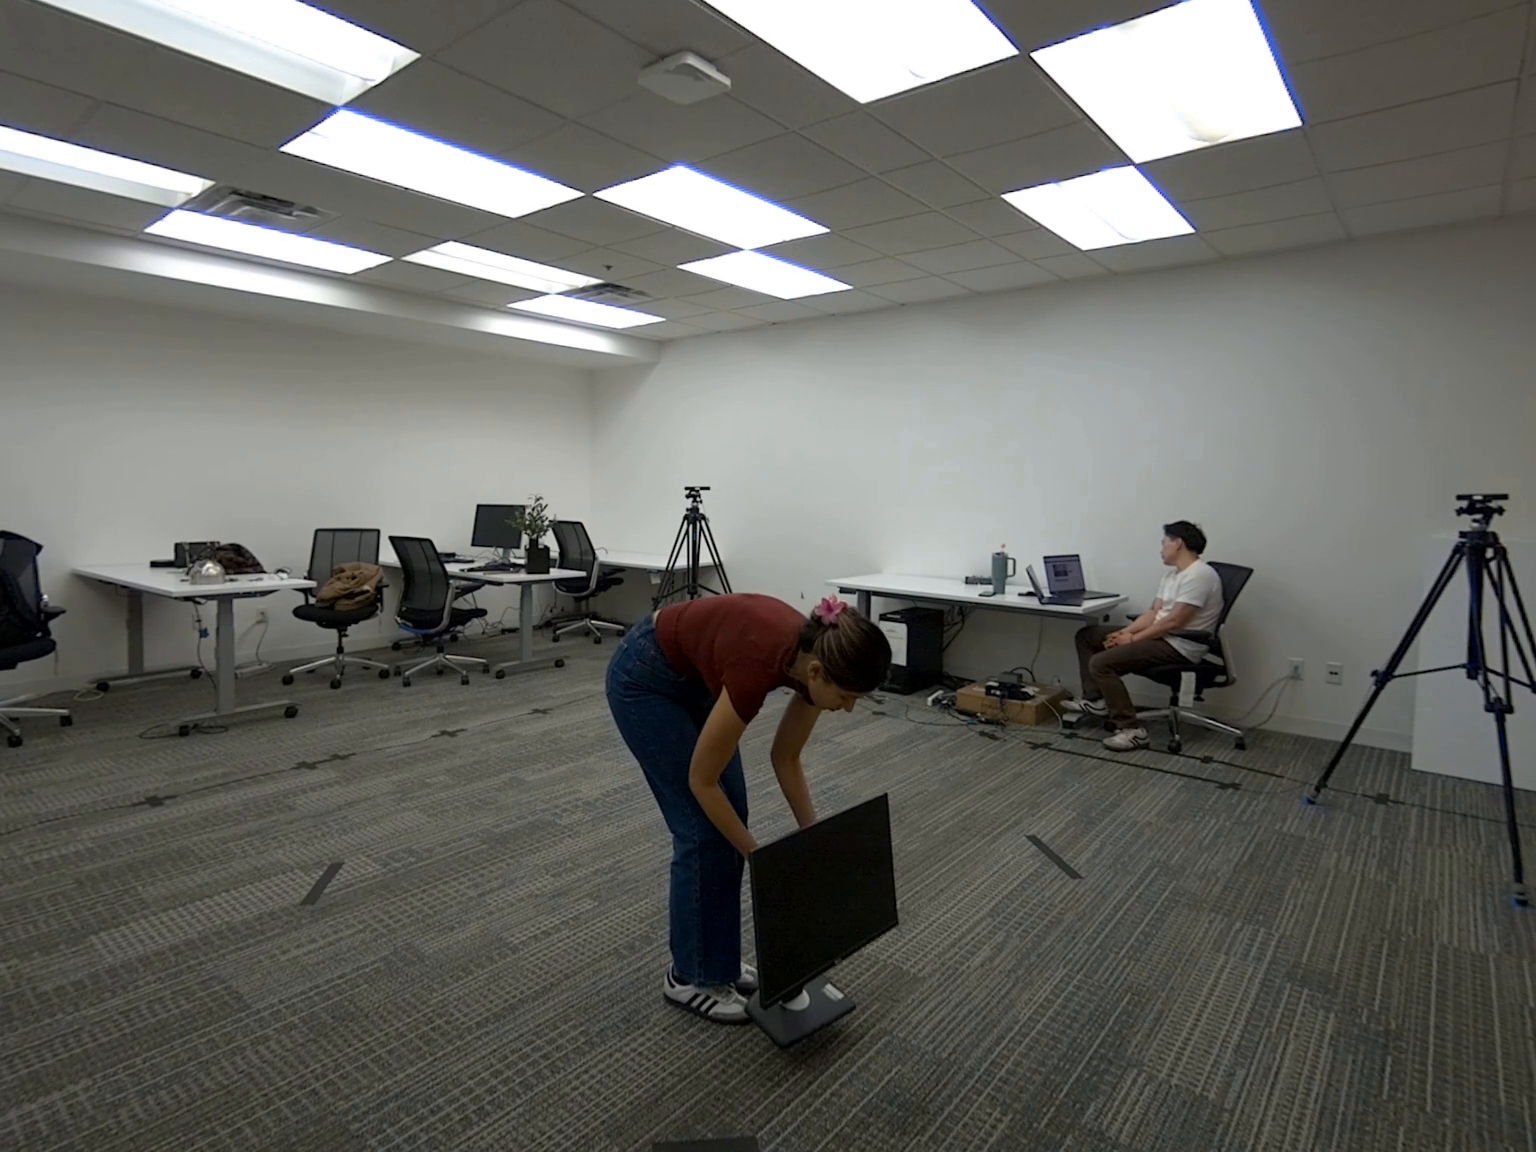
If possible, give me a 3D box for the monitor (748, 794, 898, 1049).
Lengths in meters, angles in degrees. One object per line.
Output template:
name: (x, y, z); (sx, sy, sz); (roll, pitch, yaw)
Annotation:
monitor: (0.119, 0.854, 2.117); (0.194, 0.519, 0.523); (15, 12, 42)
